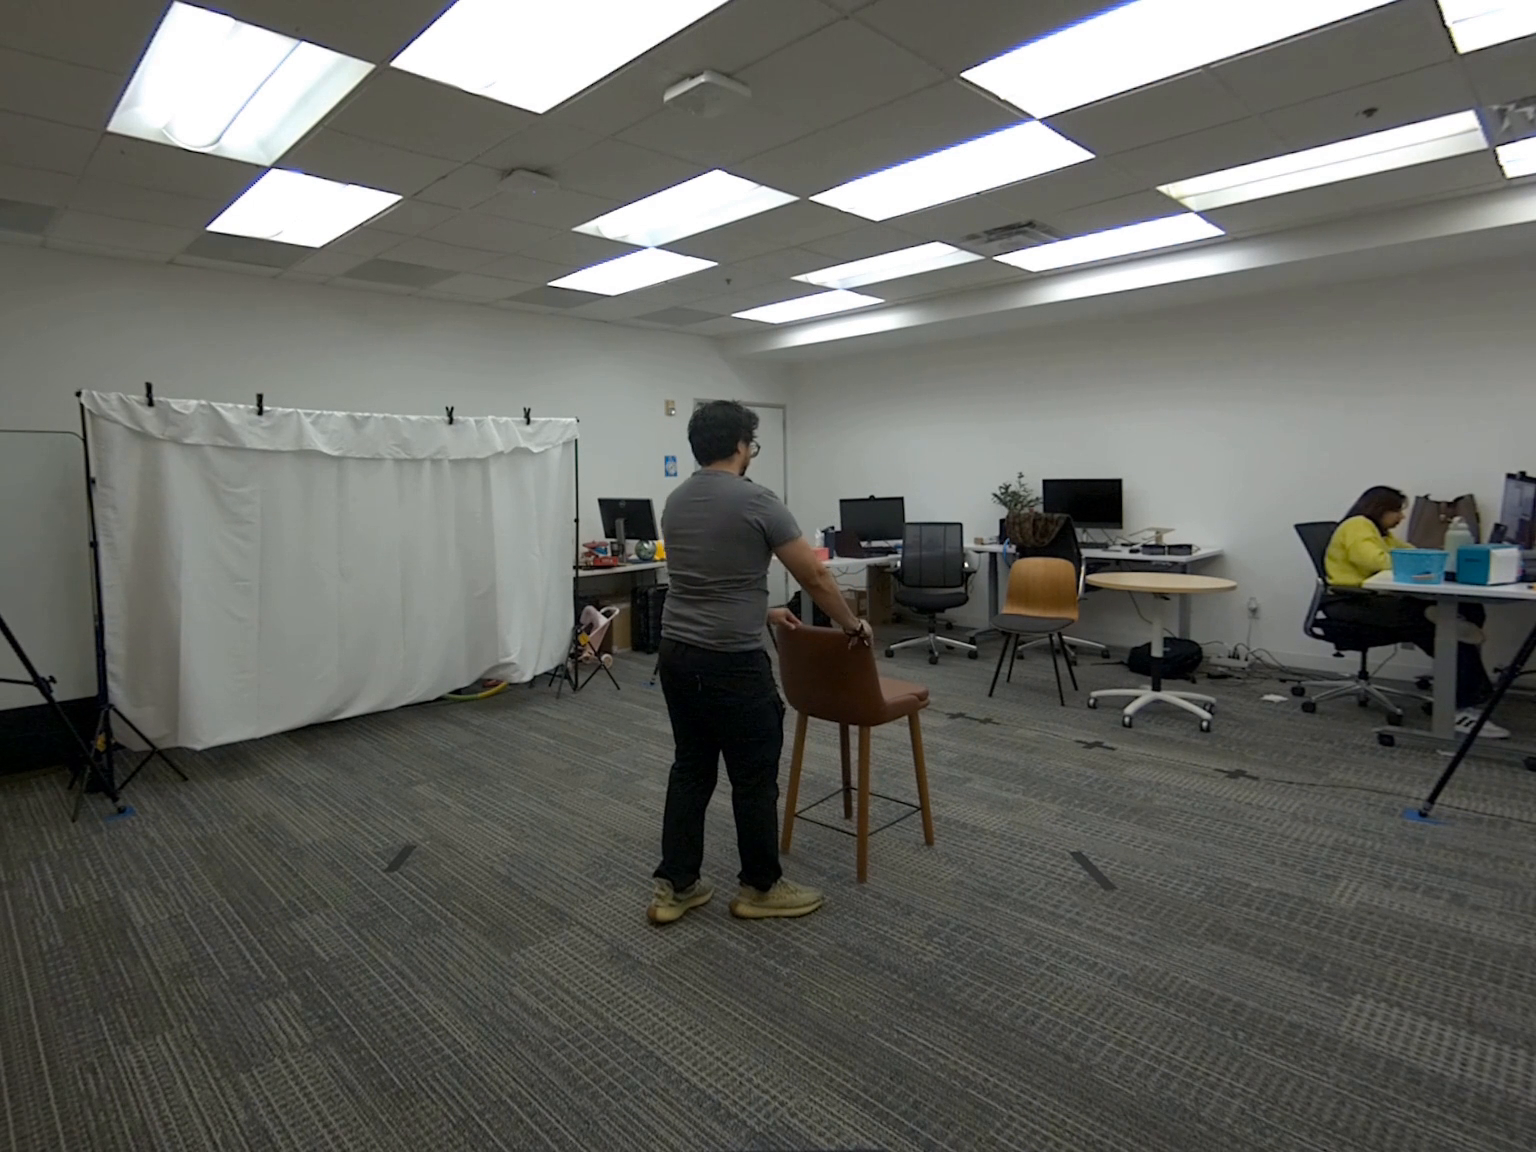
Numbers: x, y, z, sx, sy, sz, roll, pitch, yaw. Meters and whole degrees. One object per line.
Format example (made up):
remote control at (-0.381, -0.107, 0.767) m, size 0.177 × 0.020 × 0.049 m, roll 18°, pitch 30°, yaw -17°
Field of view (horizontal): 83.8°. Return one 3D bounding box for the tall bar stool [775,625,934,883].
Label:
tall bar stool at (0.319, 0.589, 3.184) m, size 0.470 × 0.885 × 0.456 m, roll 3°, pitch 8°, yaw 43°
